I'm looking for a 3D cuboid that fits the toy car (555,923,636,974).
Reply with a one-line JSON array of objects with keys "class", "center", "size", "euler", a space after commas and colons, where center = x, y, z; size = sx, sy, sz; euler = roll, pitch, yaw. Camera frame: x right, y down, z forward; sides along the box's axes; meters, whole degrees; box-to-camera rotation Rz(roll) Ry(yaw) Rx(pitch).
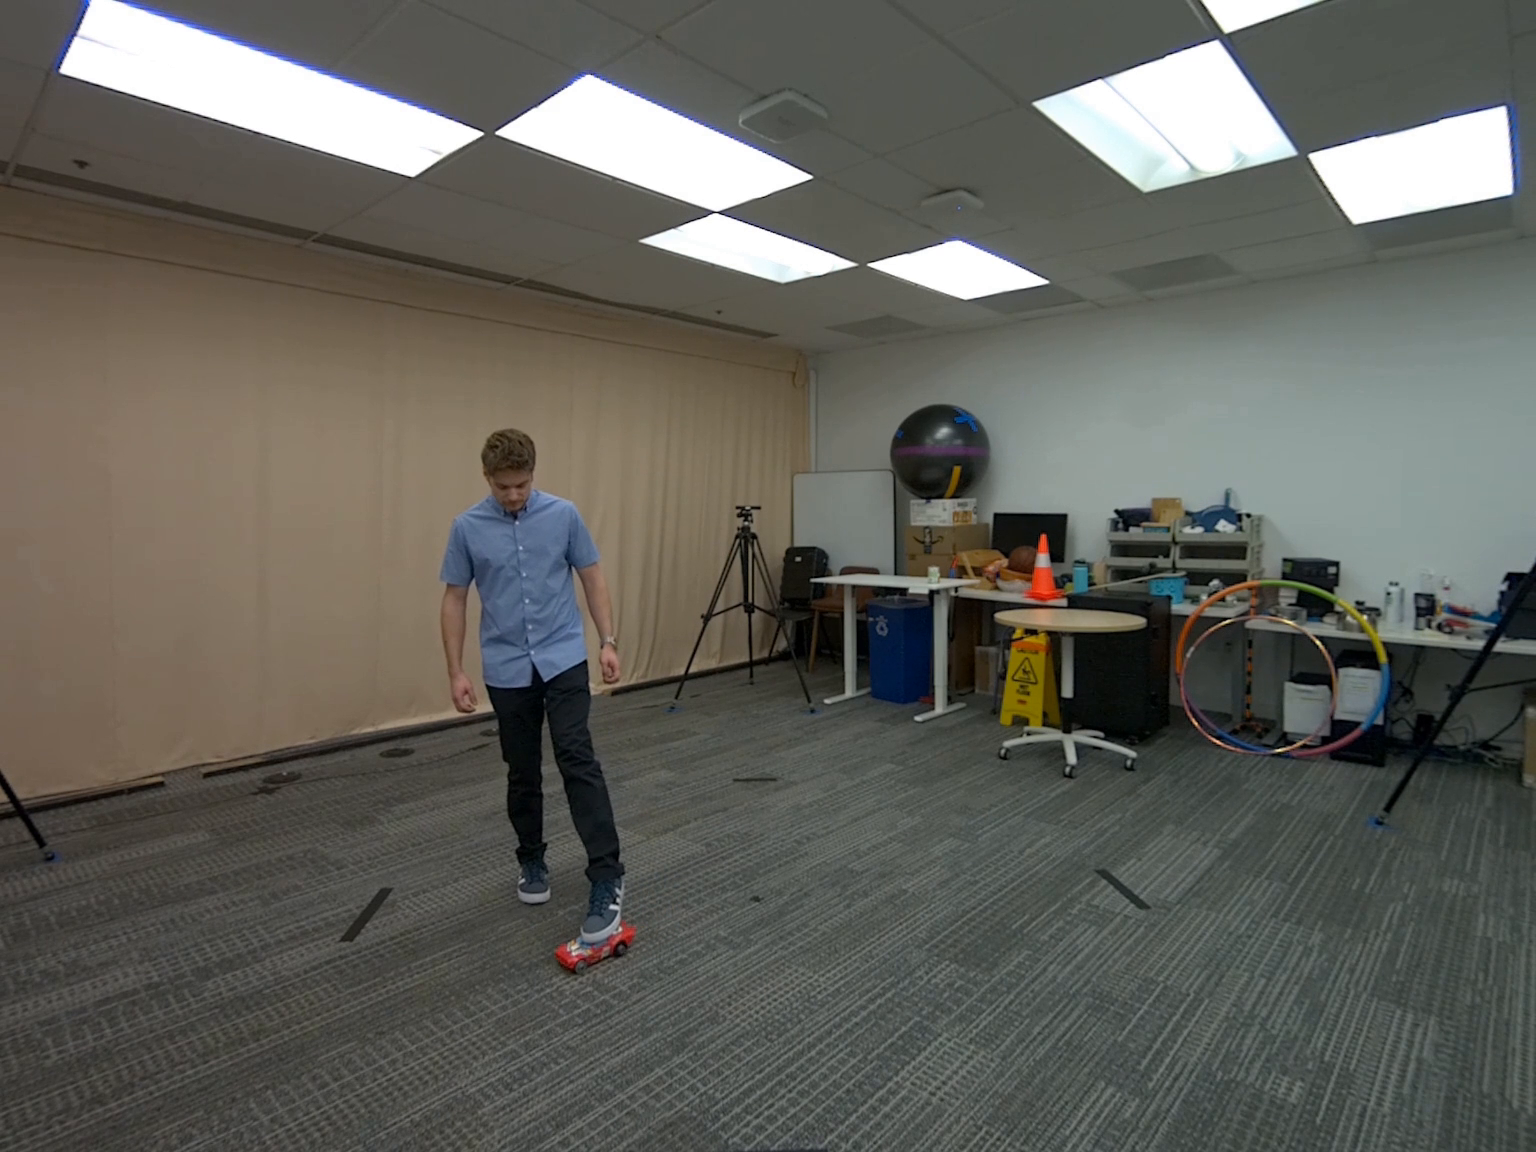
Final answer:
[{"class": "toy car", "center": [-0.534, 1.150, 2.609], "size": [0.248, 0.082, 0.134], "euler": [-18, 13, -40]}]
